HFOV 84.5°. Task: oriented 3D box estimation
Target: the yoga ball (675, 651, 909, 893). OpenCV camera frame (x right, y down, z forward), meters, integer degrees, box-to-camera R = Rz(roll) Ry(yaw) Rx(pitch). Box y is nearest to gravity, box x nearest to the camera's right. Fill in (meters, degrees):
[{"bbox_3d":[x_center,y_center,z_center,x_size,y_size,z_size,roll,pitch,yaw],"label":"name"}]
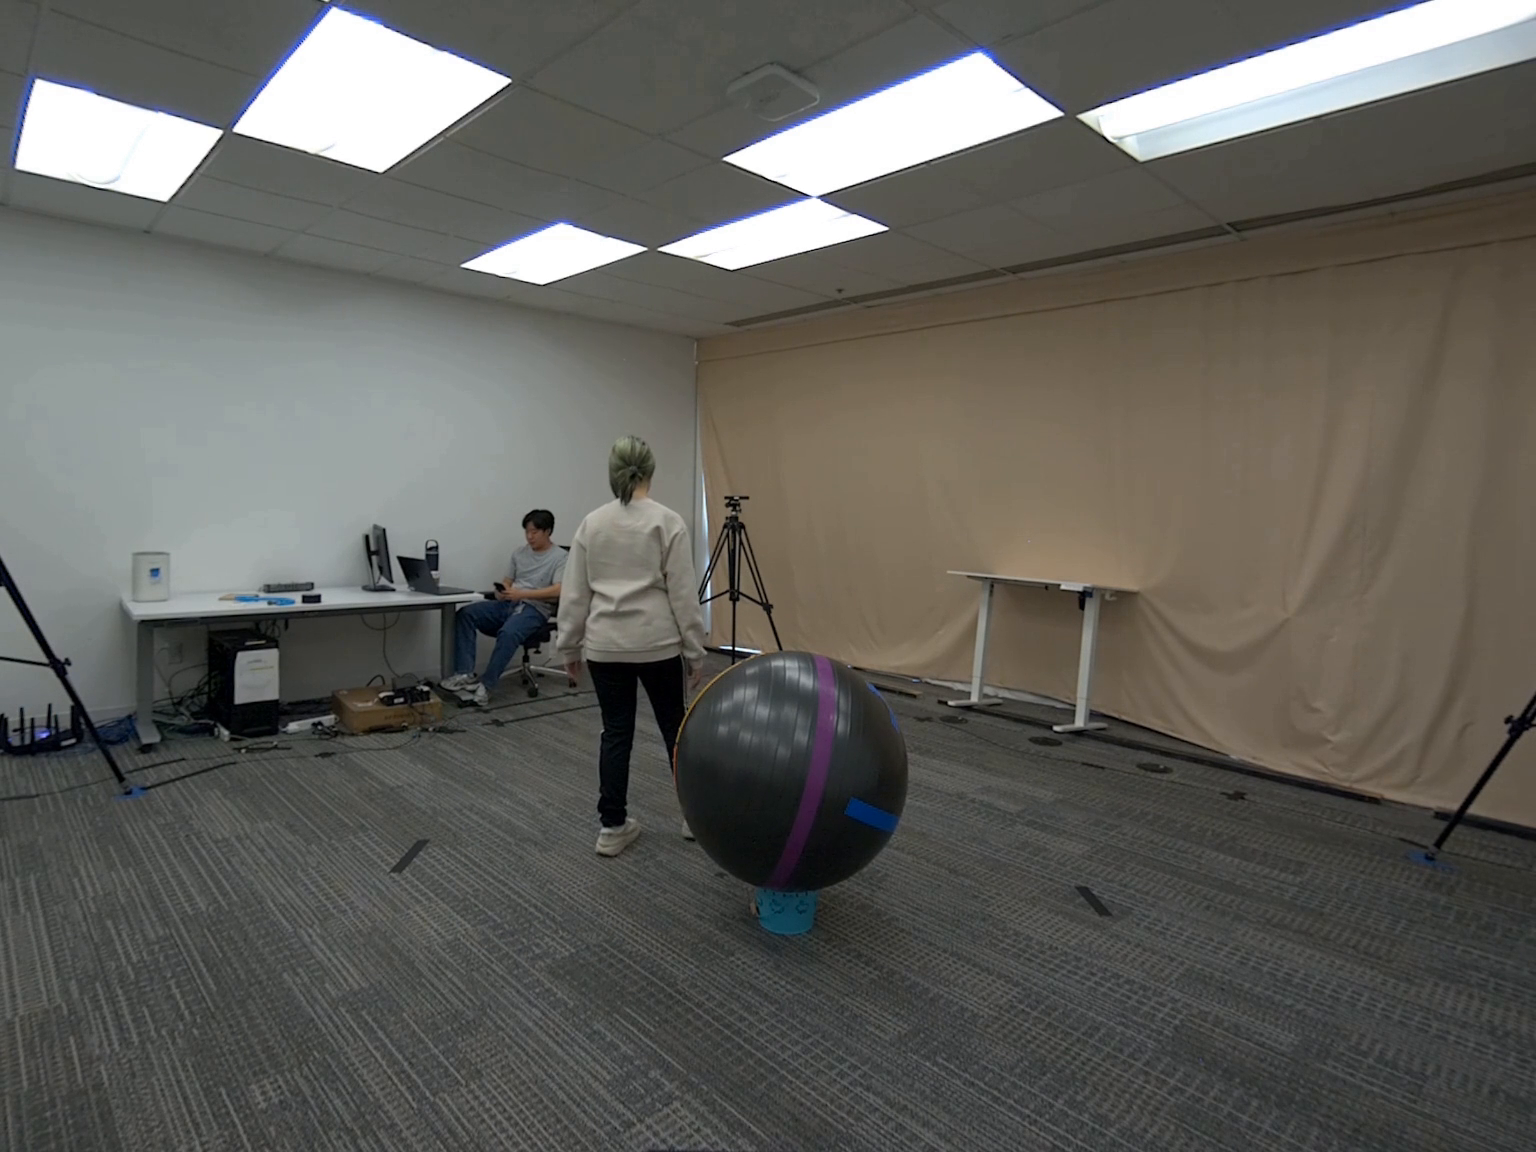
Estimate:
[{"bbox_3d":[0.066,0.632,2.751,0.757,0.756,0.761,1,4,-1],"label":"yoga ball"}]
